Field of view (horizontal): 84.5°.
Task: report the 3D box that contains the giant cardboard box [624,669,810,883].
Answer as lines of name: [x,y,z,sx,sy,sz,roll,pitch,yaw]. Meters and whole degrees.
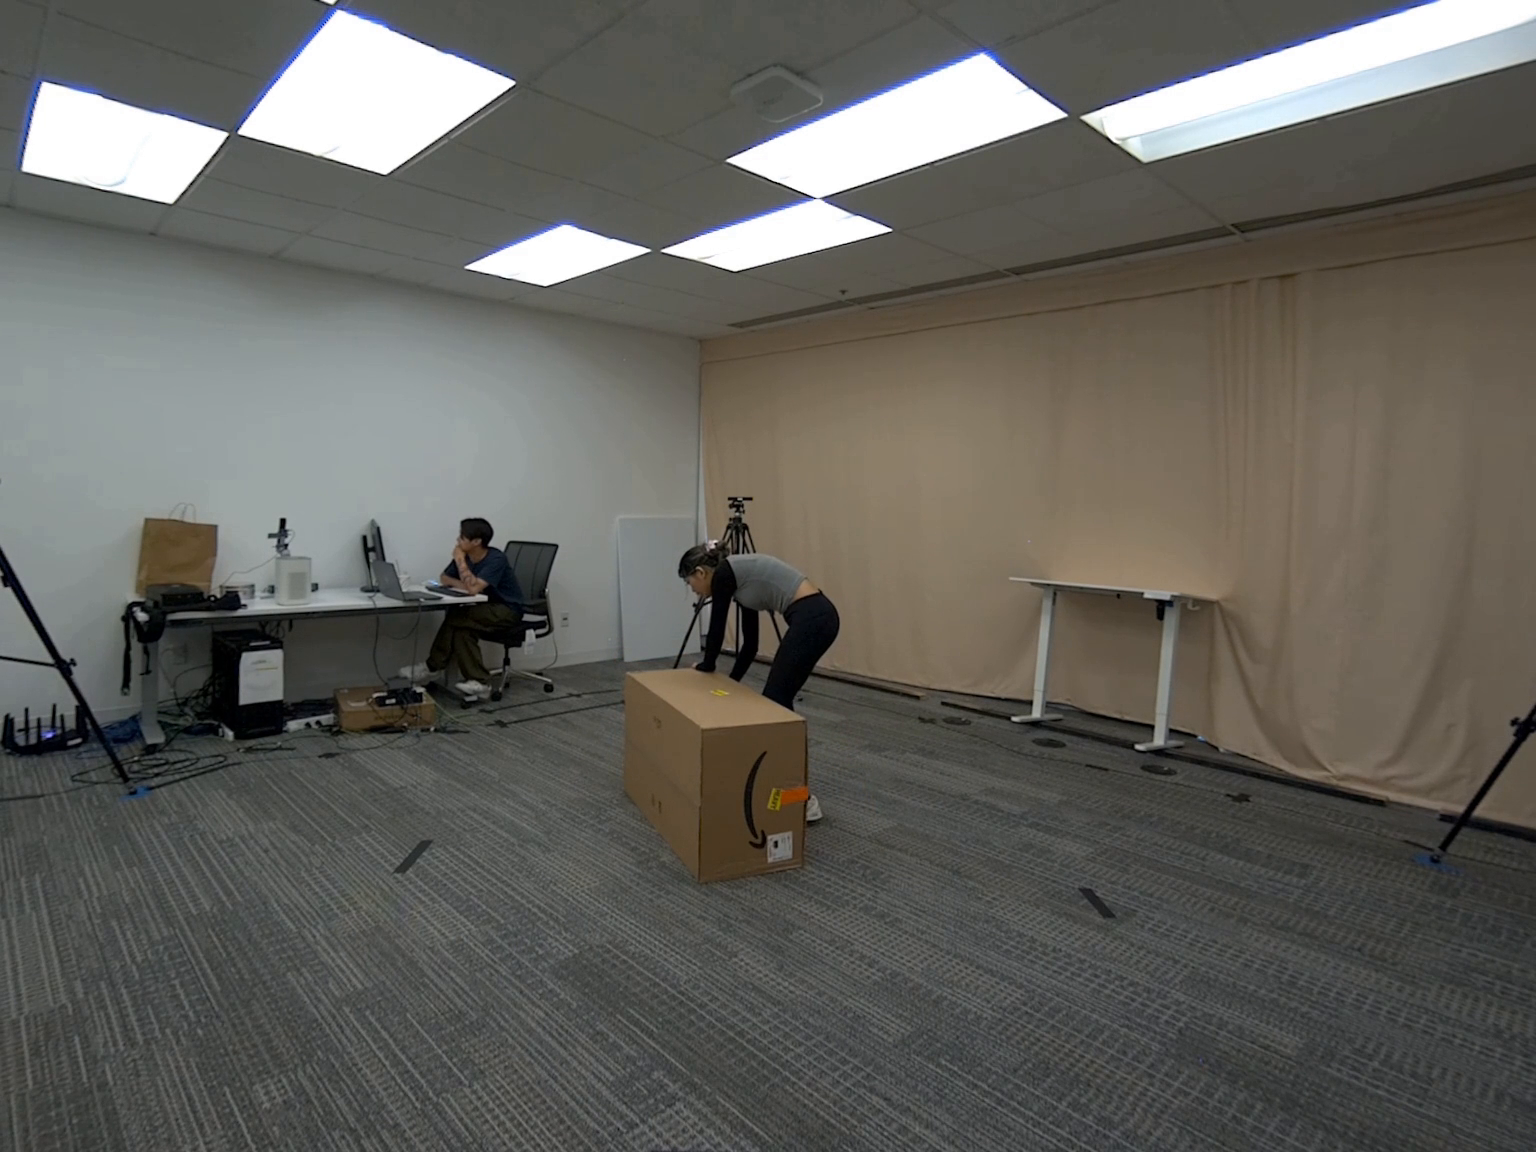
giant cardboard box: [-0.272,0.777,3.555,0.439,0.582,1.048,1,4,-25]
